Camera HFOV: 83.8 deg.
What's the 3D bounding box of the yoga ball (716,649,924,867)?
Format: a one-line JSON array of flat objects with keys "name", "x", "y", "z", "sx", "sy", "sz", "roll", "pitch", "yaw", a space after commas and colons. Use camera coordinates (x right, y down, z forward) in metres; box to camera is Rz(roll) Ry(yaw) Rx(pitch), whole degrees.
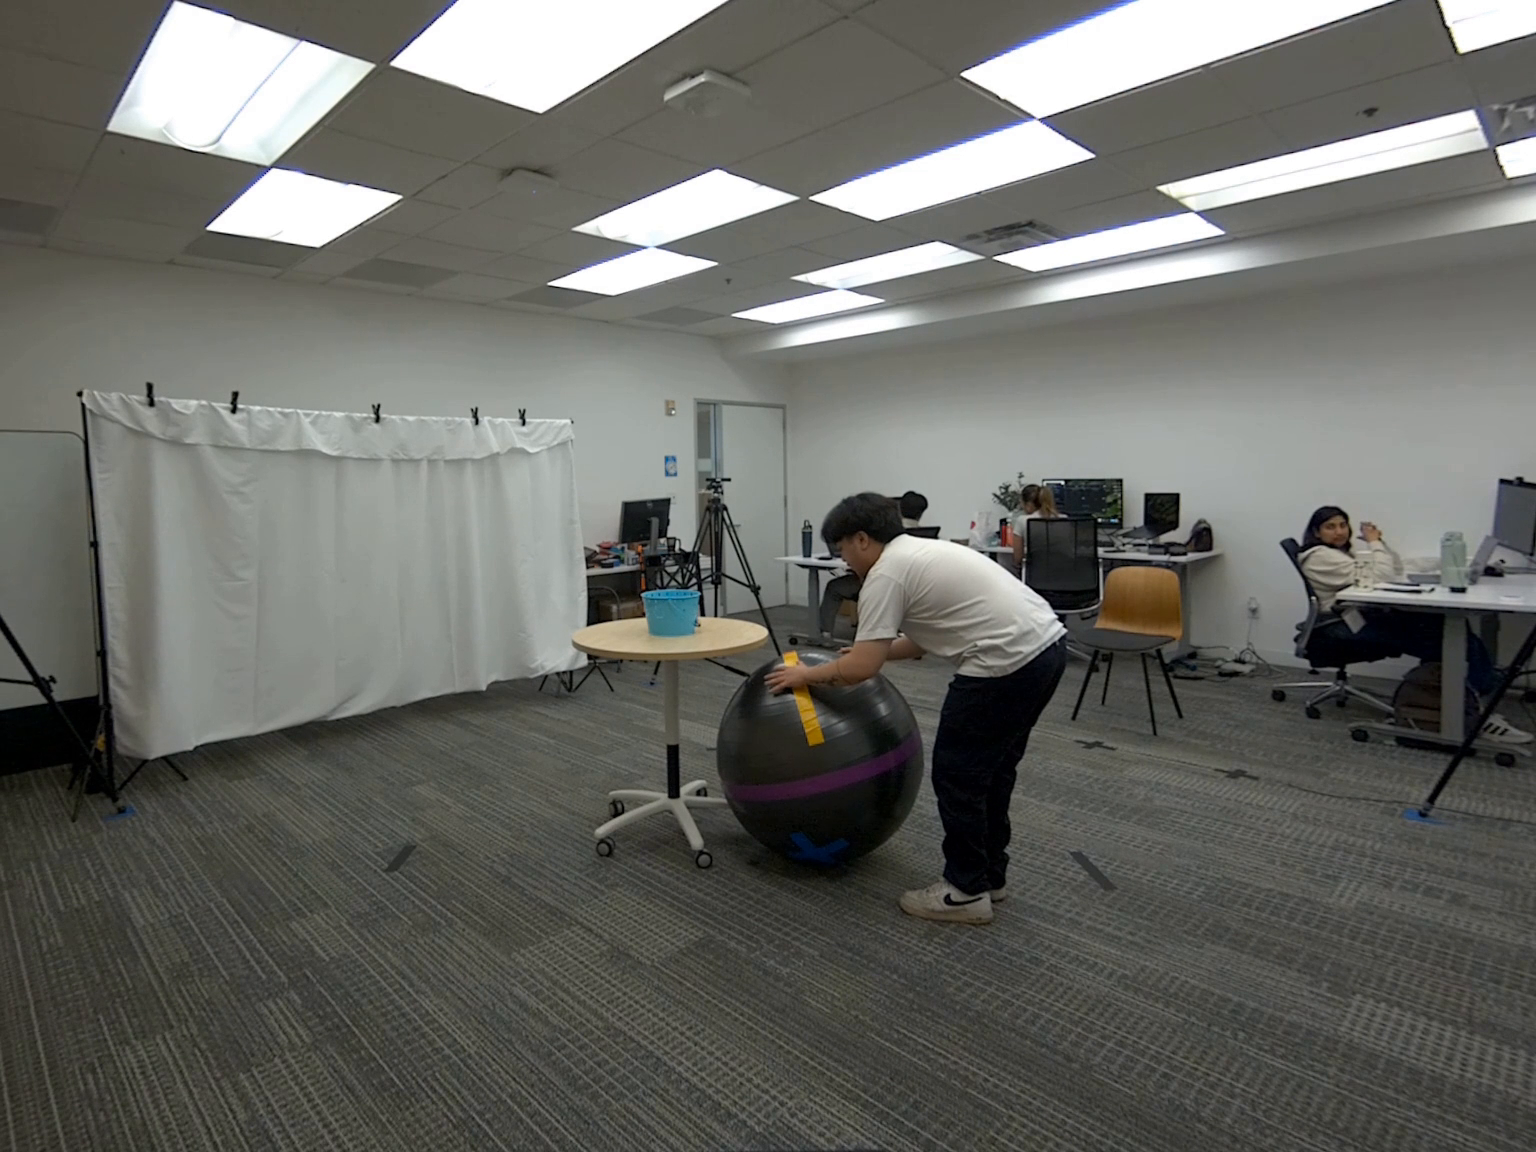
[{"name": "yoga ball", "x": 0.190, "y": 0.669, "z": 3.152, "sx": 0.757, "sy": 0.755, "sz": 0.762, "roll": -1, "pitch": 5, "yaw": -2}]
